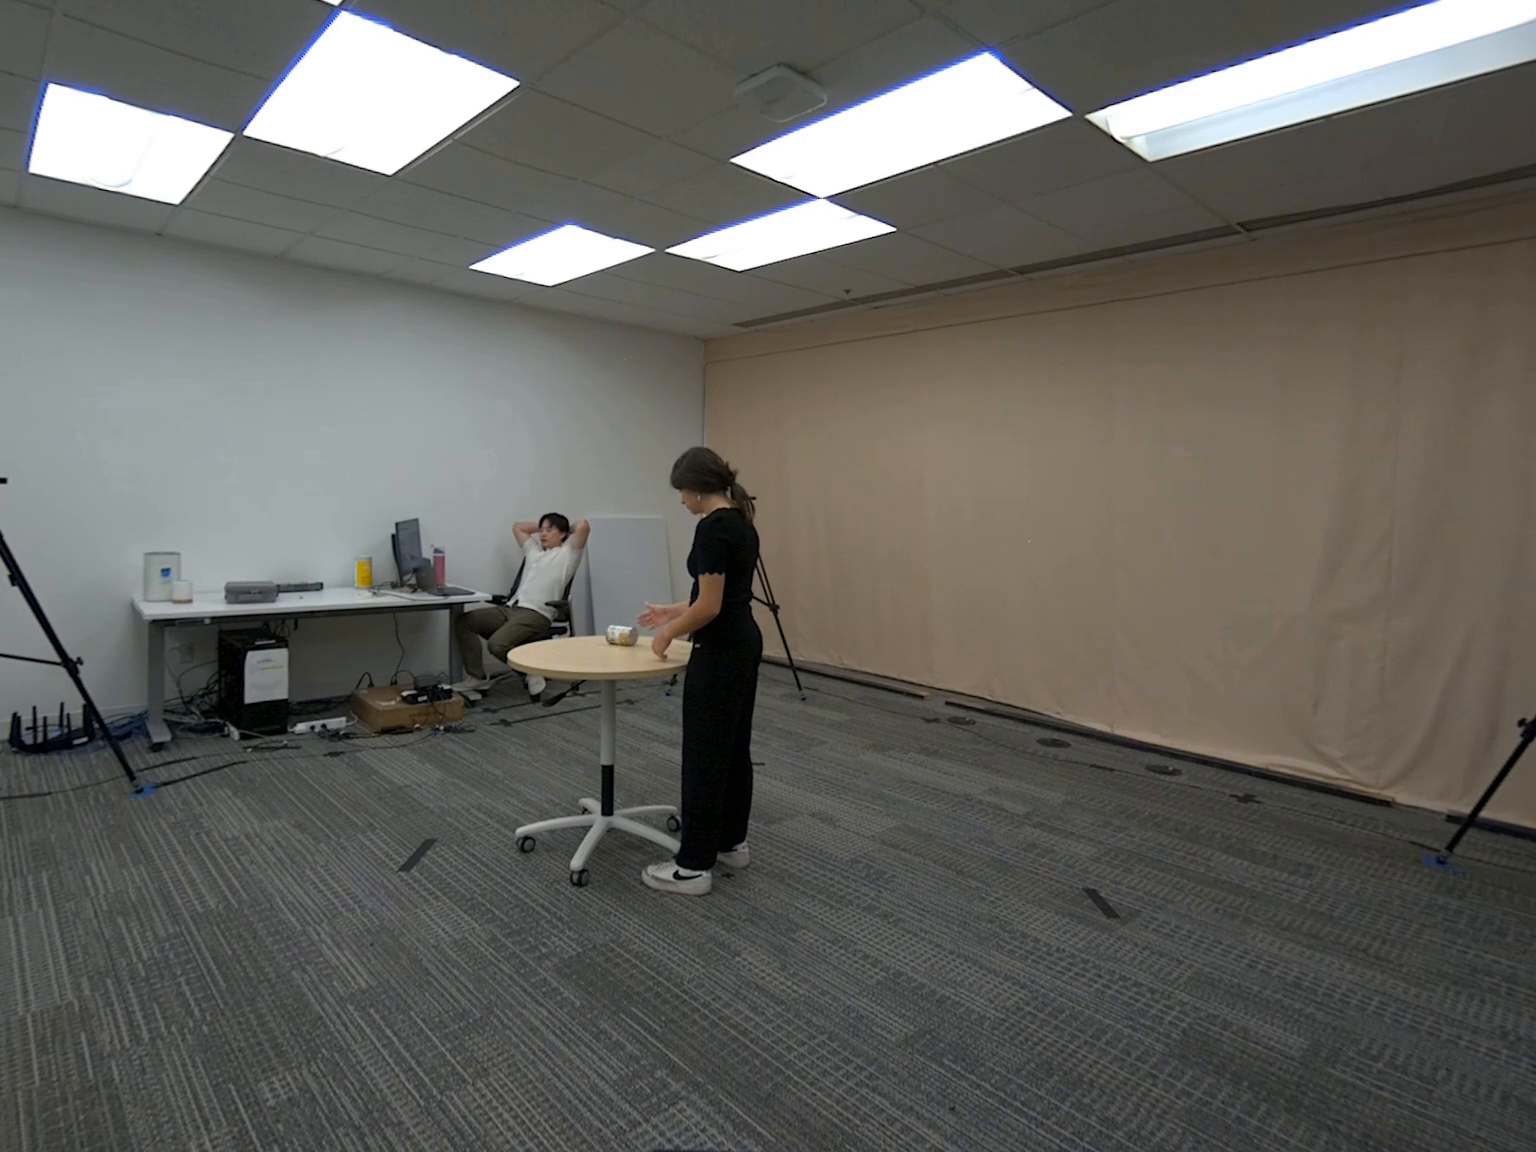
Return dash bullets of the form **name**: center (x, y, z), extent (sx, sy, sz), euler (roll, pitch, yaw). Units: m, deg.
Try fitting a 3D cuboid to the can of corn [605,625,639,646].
- **can of corn**: center (-0.606, 0.241, 3.436), extent (0.113, 0.074, 0.073), euler (3, 5, 24)
